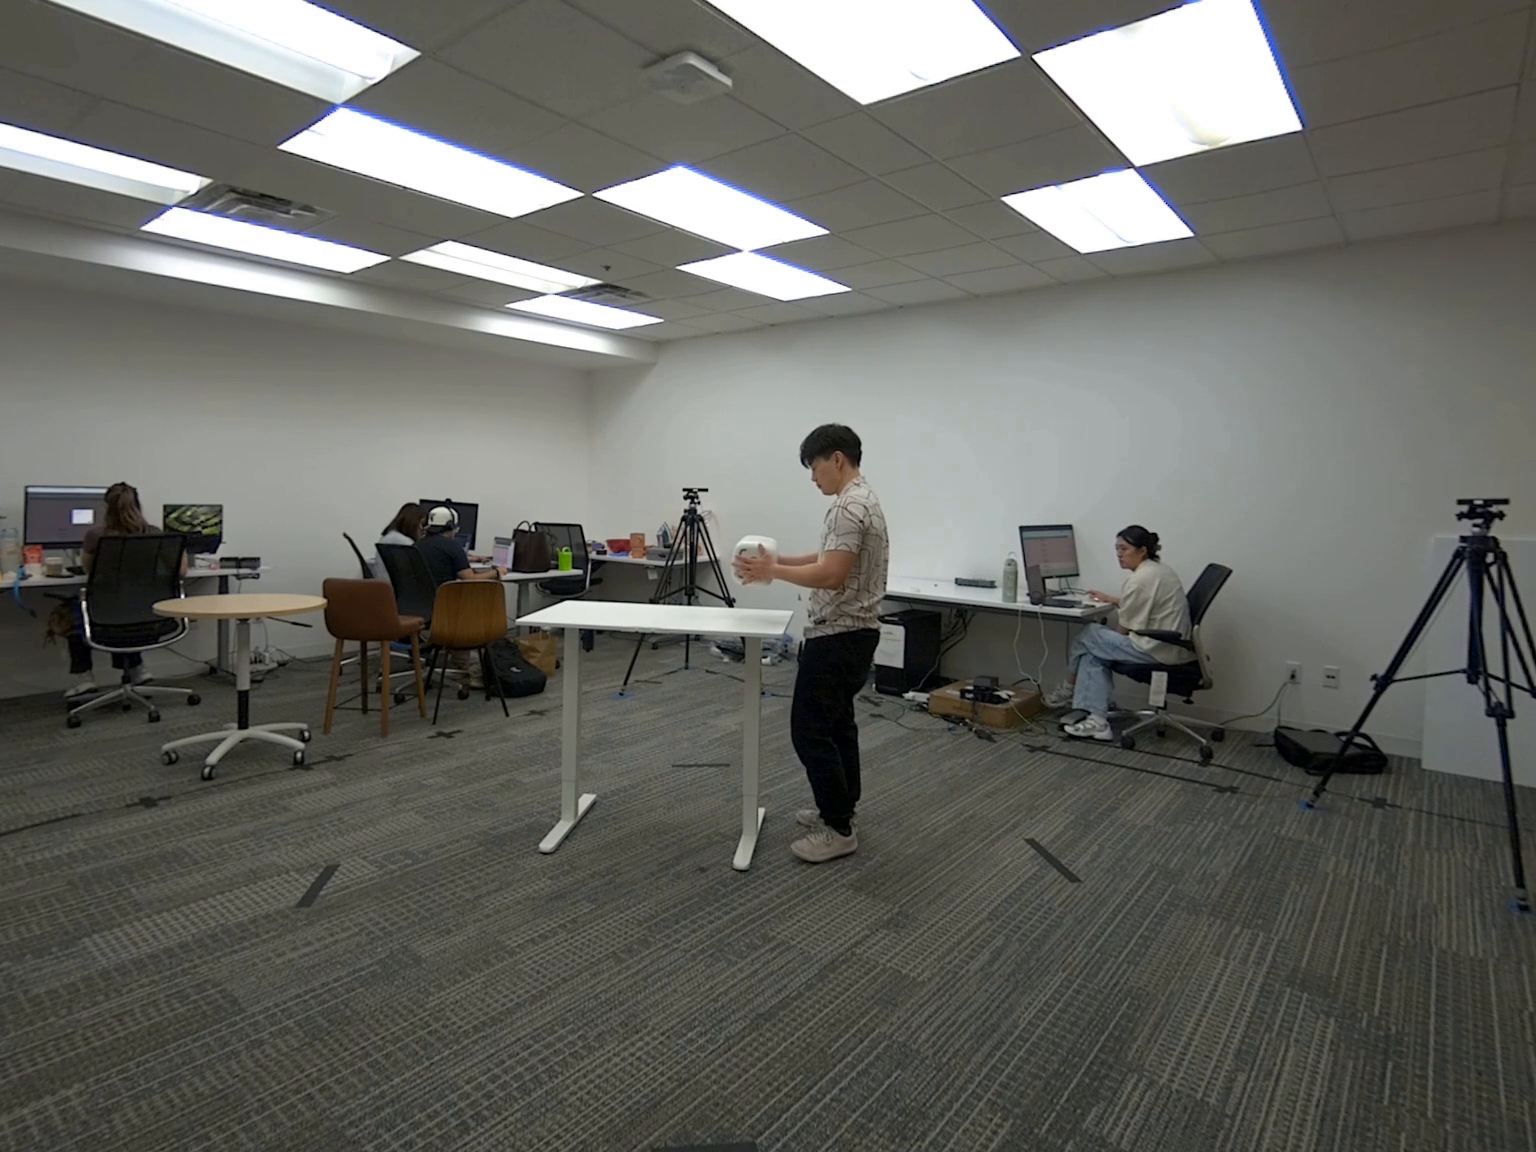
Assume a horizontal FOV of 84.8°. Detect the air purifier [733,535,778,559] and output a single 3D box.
[{"bbox_3d":[-0.059,-0.070,3.389,0.173,0.170,0.265,5,9,5],"label":"air purifier"}]
